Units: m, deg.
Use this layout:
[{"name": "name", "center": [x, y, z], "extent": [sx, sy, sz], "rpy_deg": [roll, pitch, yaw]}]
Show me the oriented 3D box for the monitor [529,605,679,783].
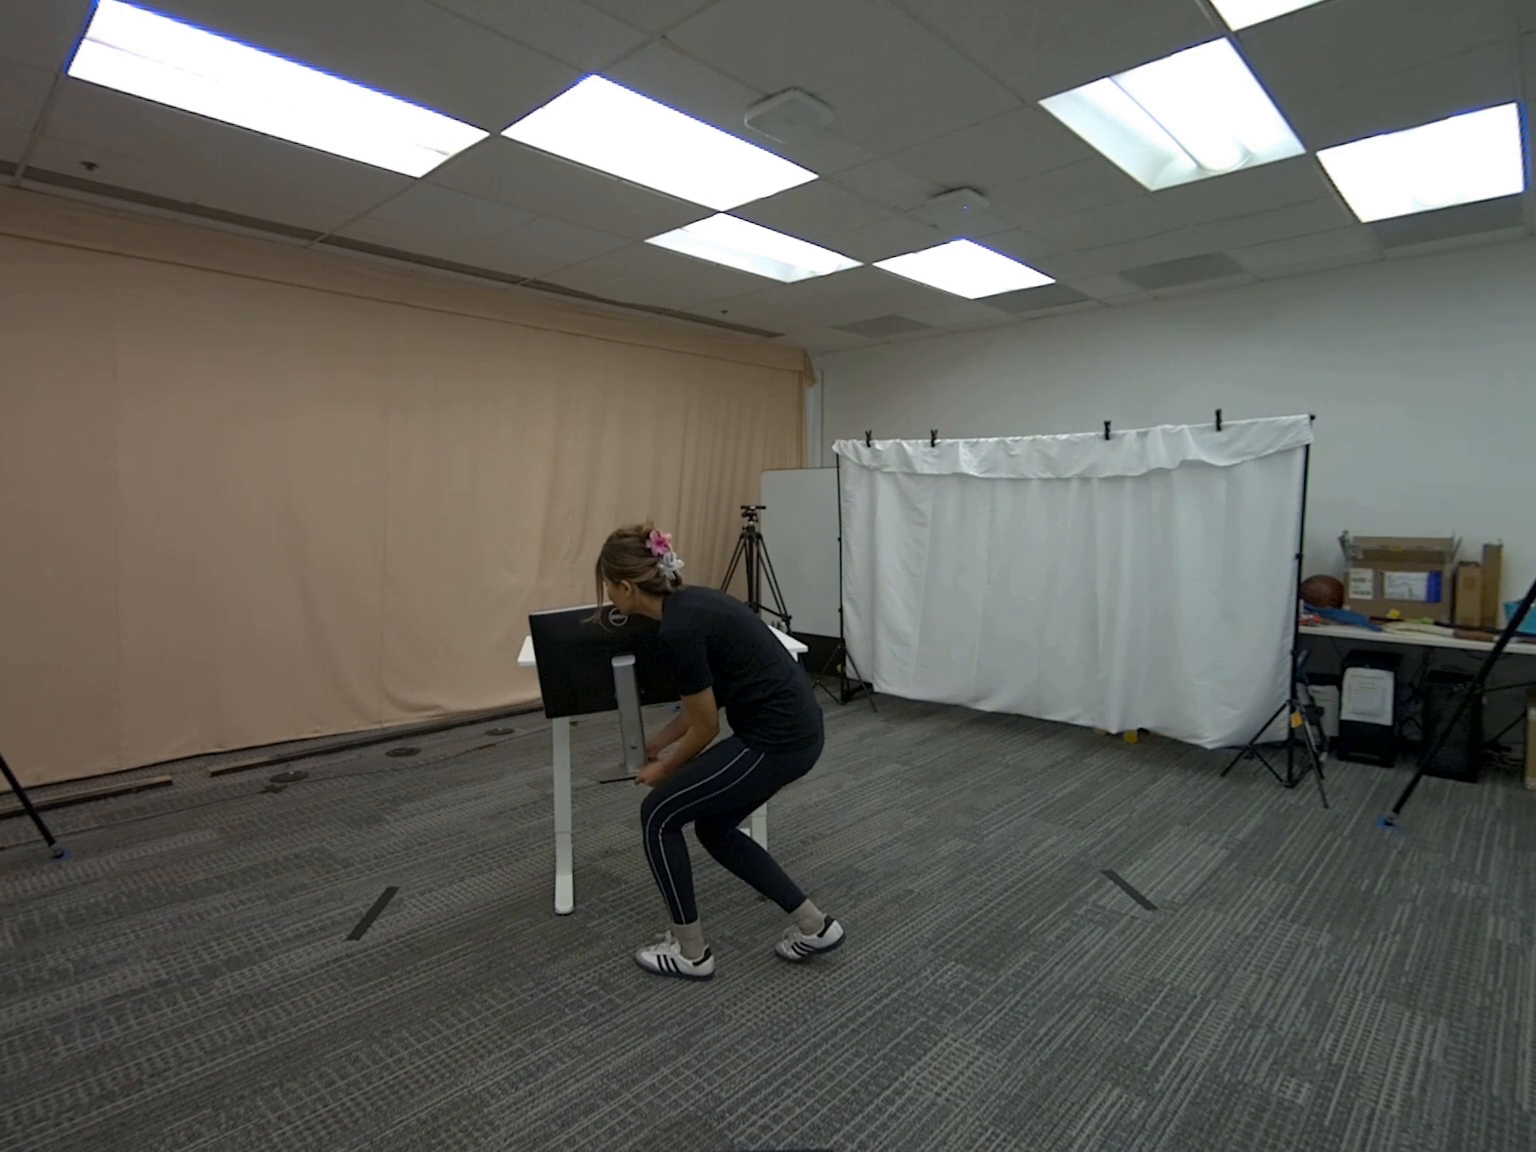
[{"name": "monitor", "center": [-0.456, 0.353, 2.660], "extent": [0.535, 0.522, 0.188], "rpy_deg": [-5, 2, -7]}]
